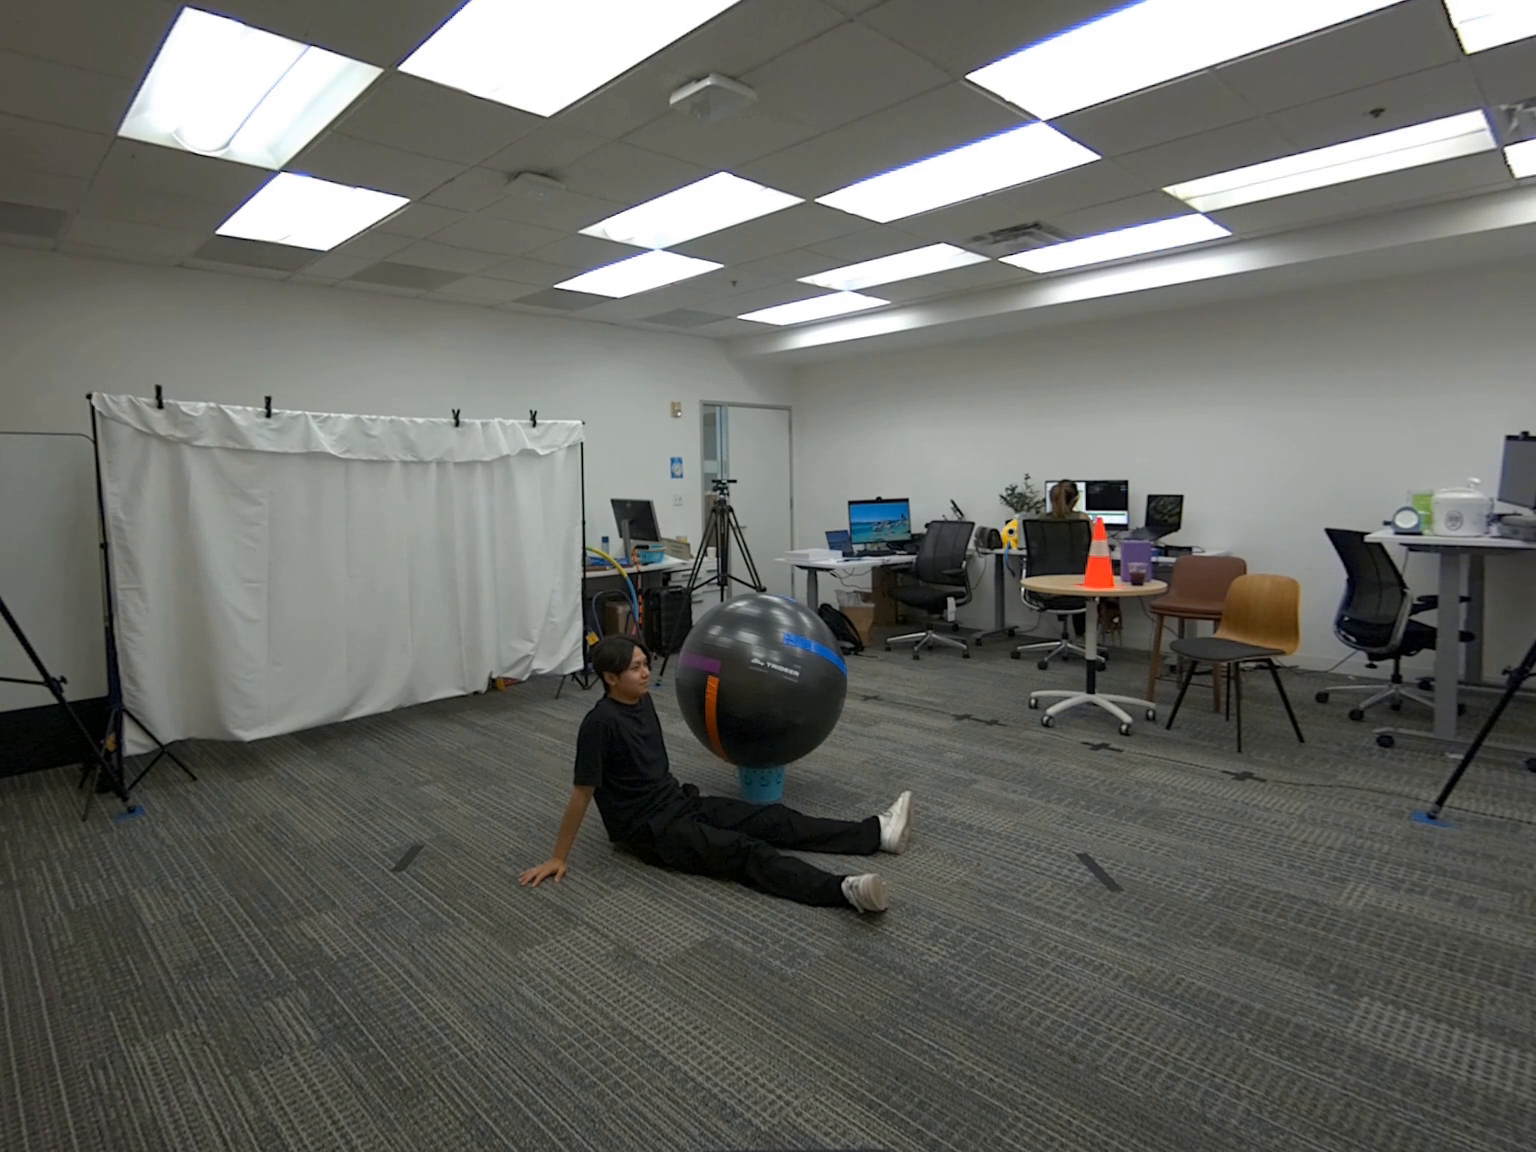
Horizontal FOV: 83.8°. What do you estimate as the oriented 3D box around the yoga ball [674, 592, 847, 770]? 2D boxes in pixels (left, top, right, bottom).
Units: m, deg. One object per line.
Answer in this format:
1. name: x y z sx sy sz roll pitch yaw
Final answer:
1. yoga ball: -0.024 0.472 3.791 0.757 0.755 0.762 -1 5 -2
